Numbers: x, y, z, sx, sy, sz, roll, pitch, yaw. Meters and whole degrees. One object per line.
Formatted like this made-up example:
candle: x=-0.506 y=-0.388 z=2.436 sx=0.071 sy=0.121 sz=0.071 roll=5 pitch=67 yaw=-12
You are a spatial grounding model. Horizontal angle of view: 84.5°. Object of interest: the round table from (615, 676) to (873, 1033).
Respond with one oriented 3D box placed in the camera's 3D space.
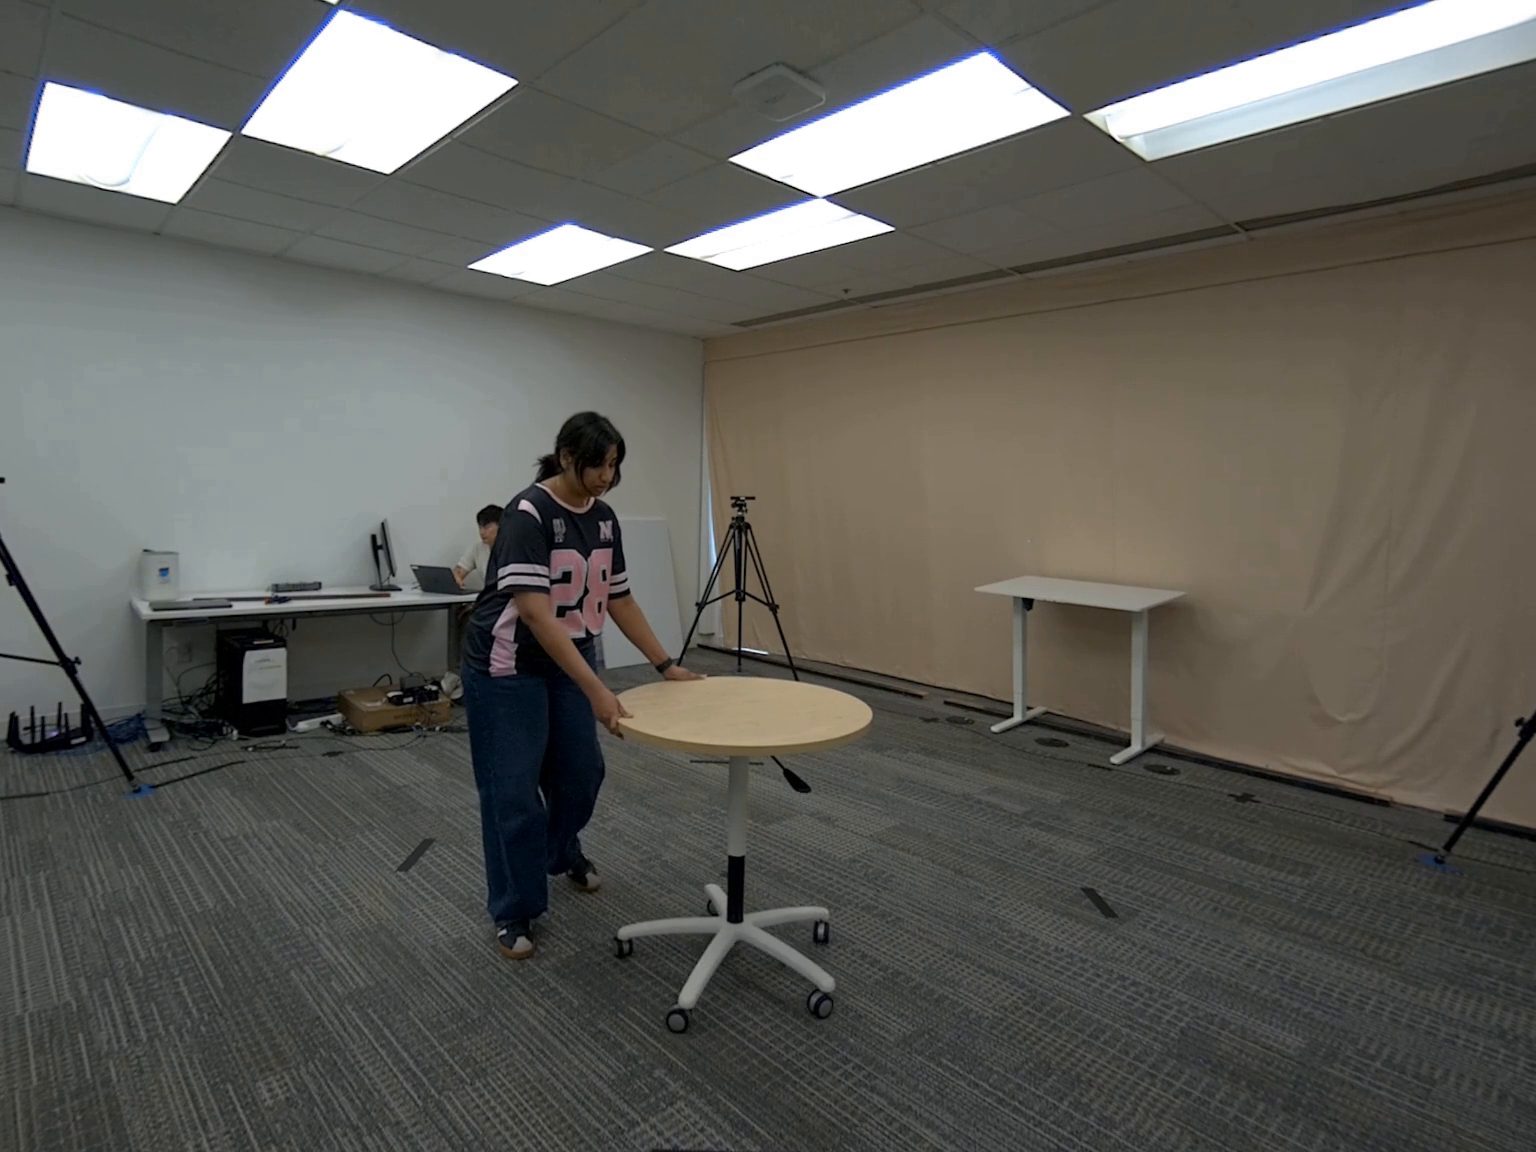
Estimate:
round table: x=-0.100 y=0.768 z=2.497 sx=0.784 sy=0.784 sz=0.788 roll=1 pitch=5 yaw=-1
